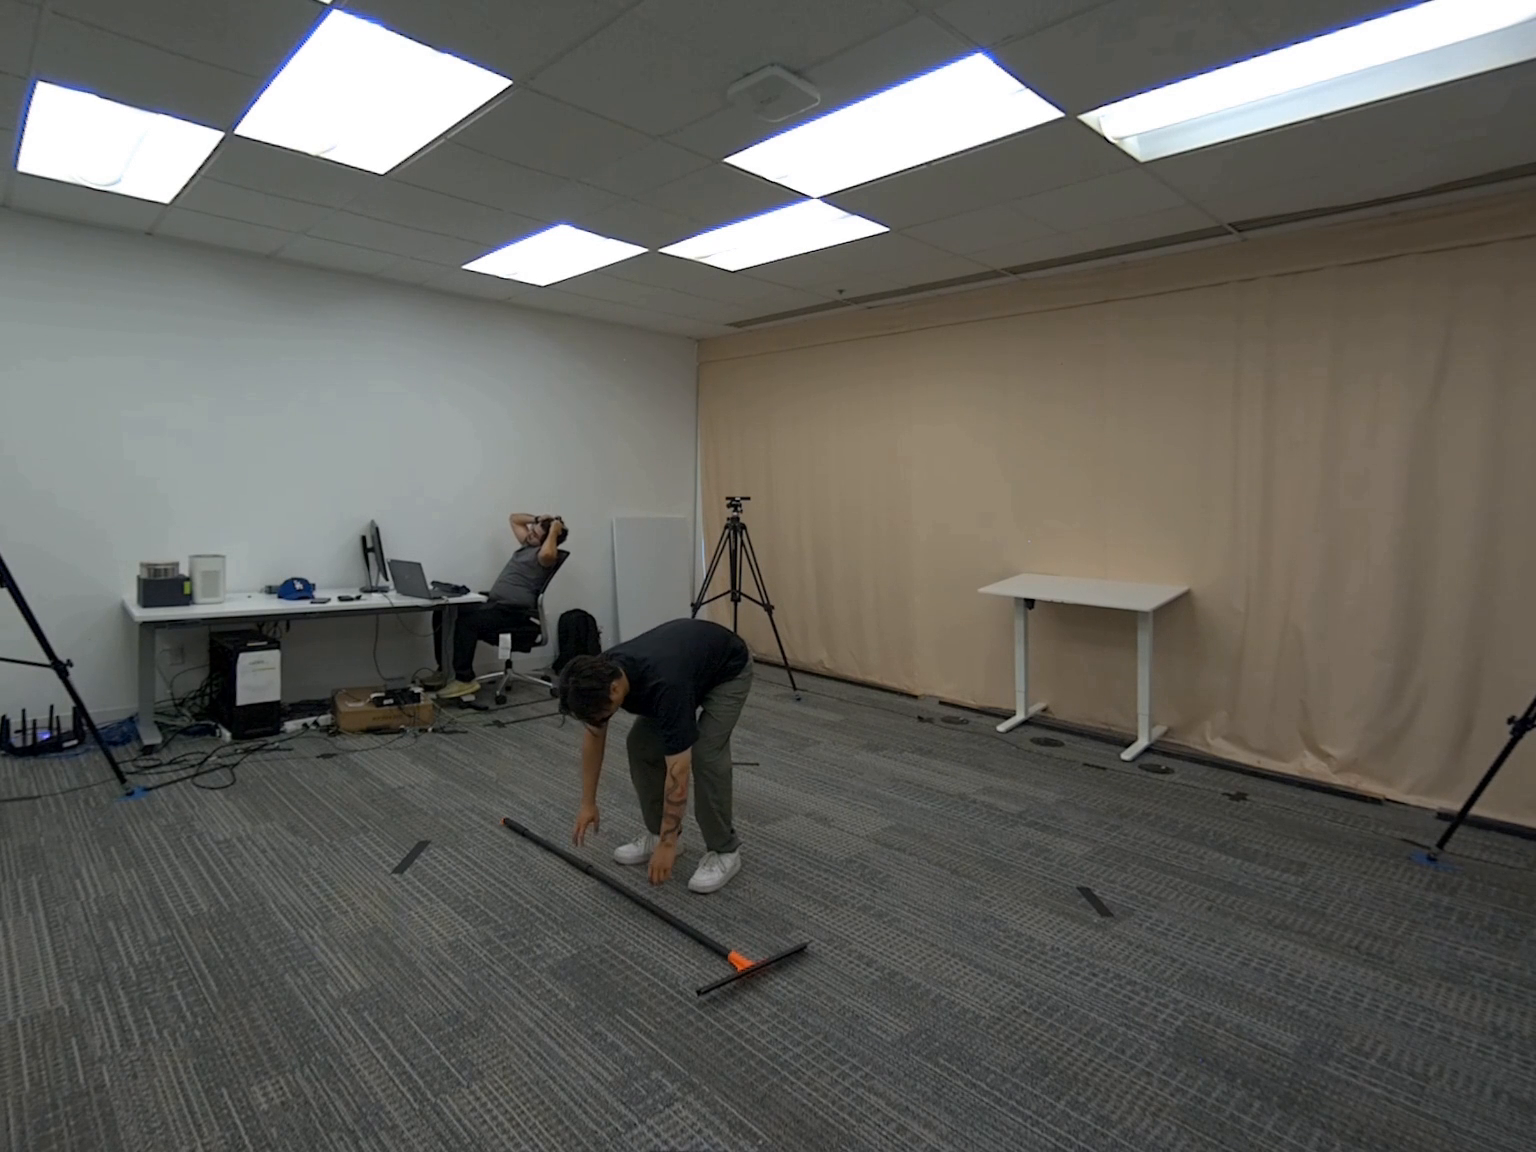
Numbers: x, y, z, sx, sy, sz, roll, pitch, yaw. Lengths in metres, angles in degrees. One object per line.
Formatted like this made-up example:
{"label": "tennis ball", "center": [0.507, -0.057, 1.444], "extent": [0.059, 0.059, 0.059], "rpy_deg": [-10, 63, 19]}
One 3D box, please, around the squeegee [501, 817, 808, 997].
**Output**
{"label": "squeegee", "center": [-0.564, 1.068, 2.992], "extent": [0.427, 0.053, 1.577], "rpy_deg": [-2, 5, -44]}
